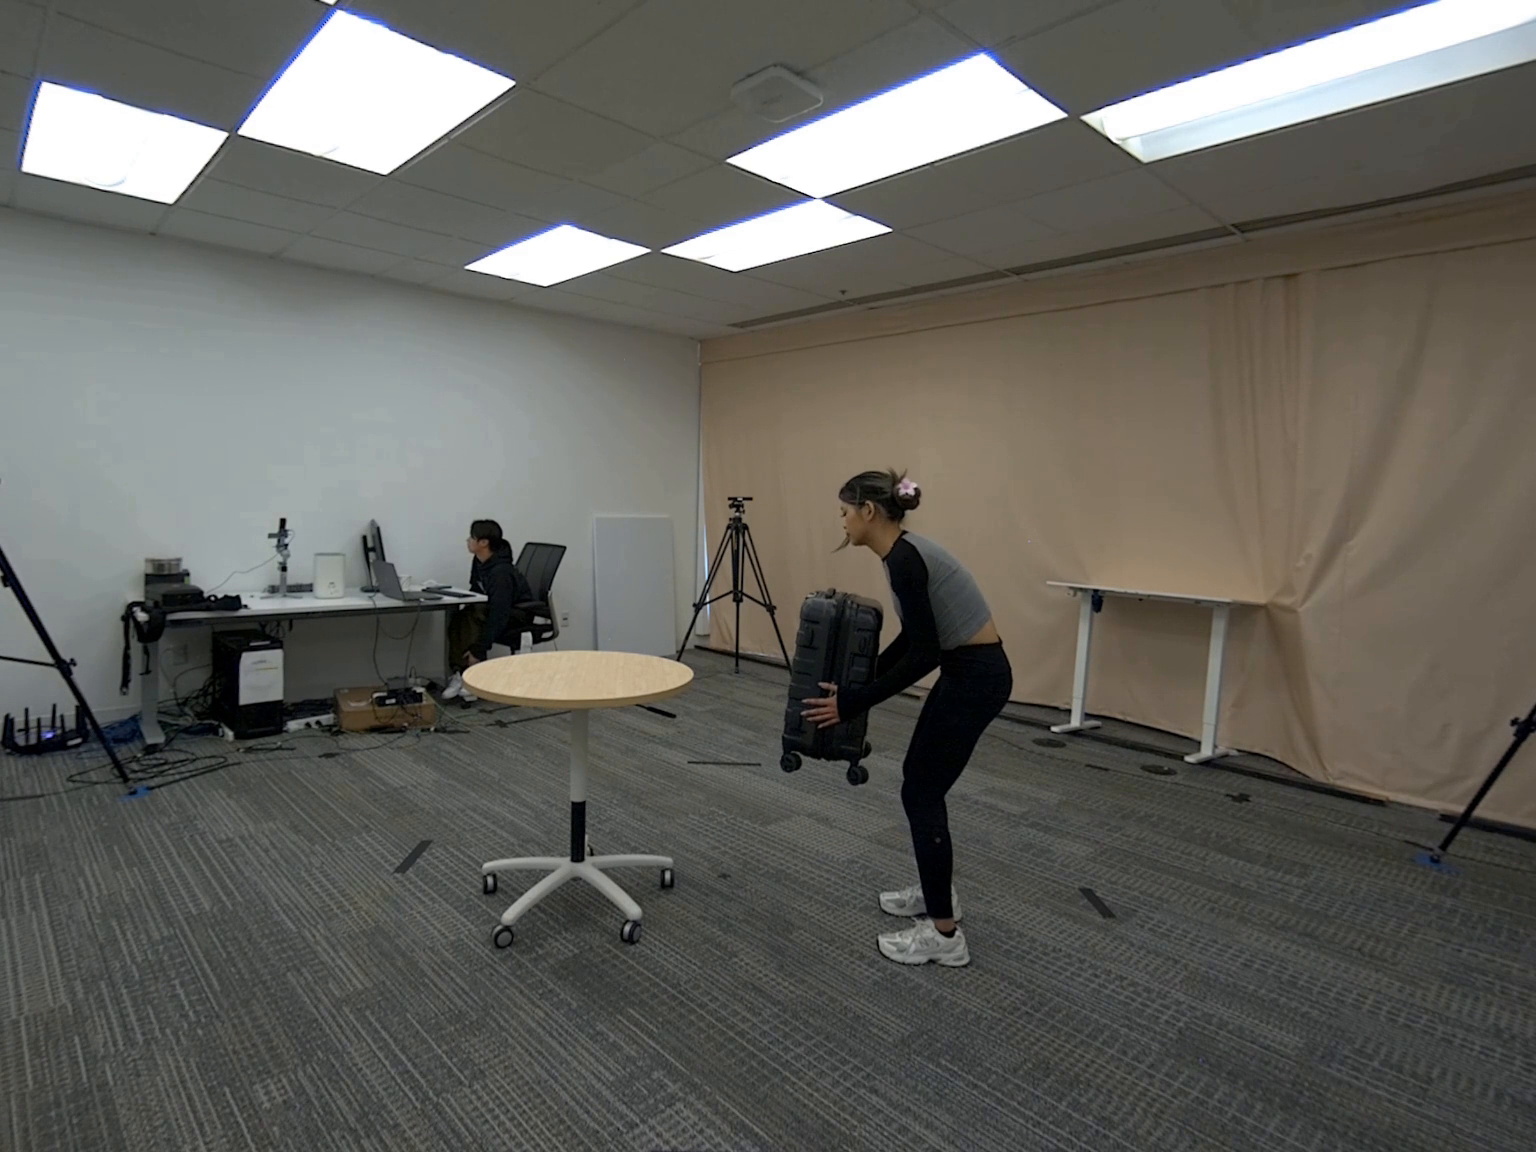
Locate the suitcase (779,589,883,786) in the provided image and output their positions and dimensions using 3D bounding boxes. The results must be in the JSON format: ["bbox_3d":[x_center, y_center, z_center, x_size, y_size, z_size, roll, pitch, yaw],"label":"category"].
[{"bbox_3d":[0.208,0.320,2.687,0.251,0.548,0.372,6,3,10],"label":"suitcase"}]
